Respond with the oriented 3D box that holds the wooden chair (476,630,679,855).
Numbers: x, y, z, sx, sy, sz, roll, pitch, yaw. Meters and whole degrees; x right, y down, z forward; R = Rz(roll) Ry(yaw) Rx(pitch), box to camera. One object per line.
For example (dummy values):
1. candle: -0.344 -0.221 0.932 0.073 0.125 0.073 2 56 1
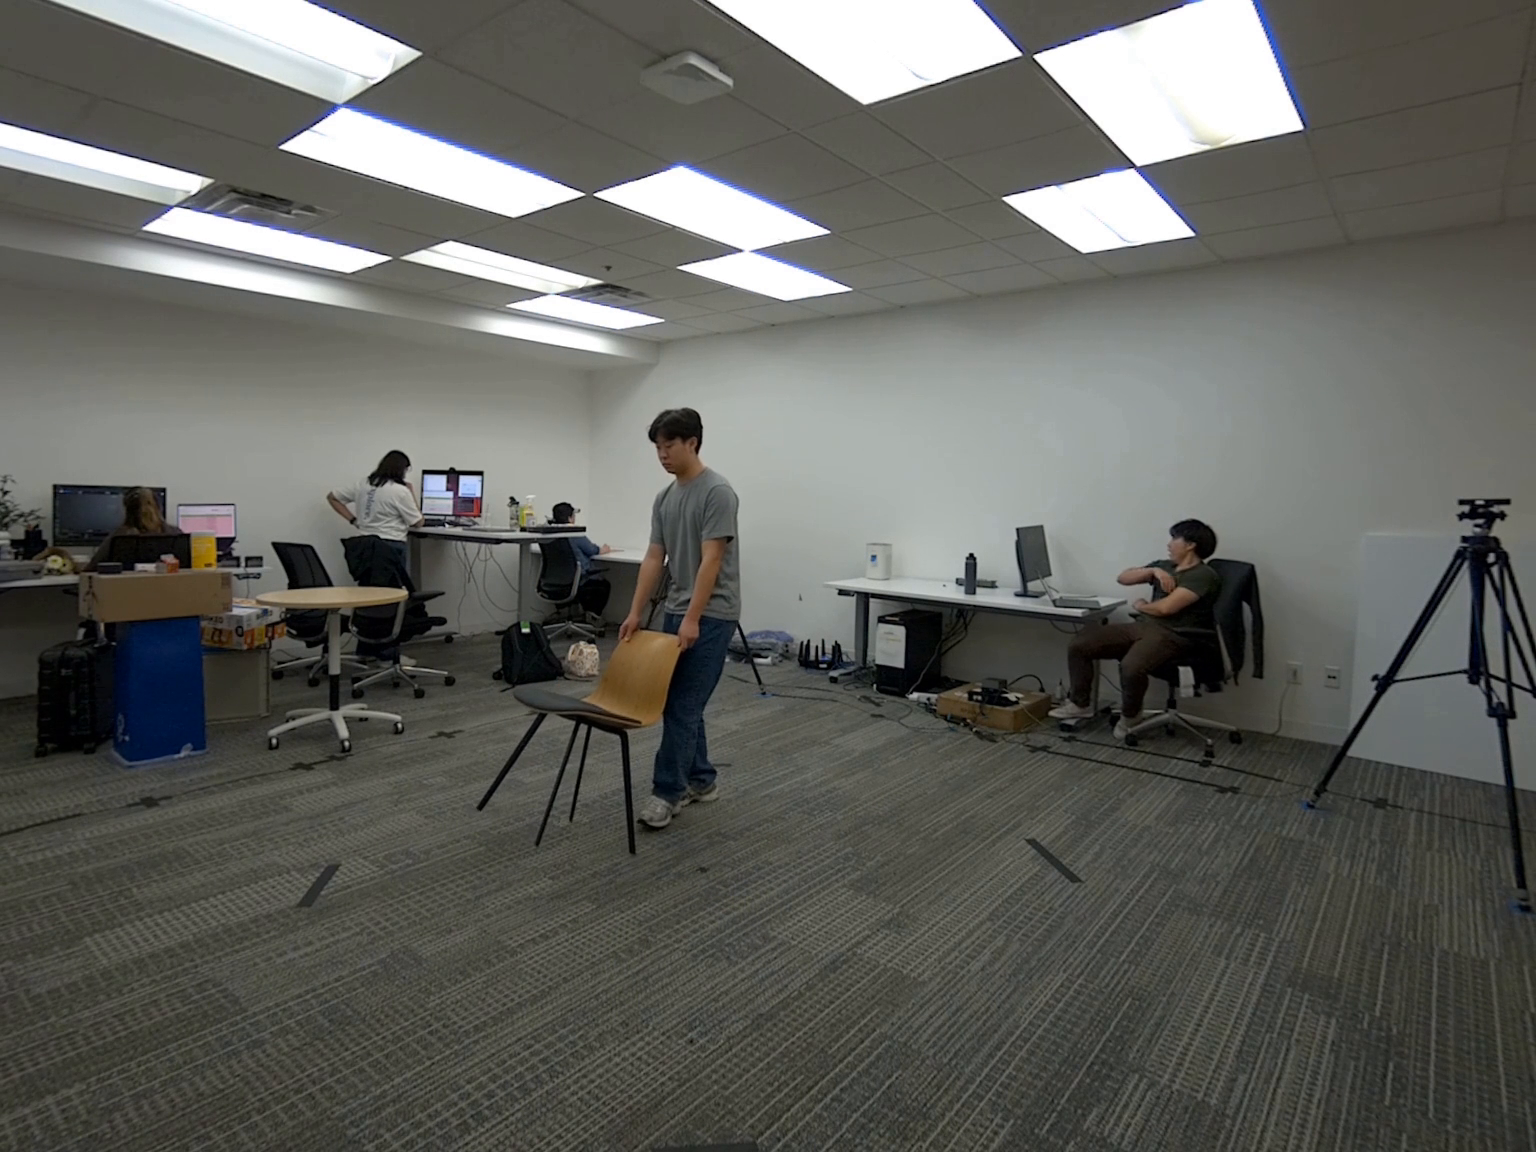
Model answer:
1. wooden chair: -0.726 0.565 3.298 0.494 0.884 0.502 4 -18 46
